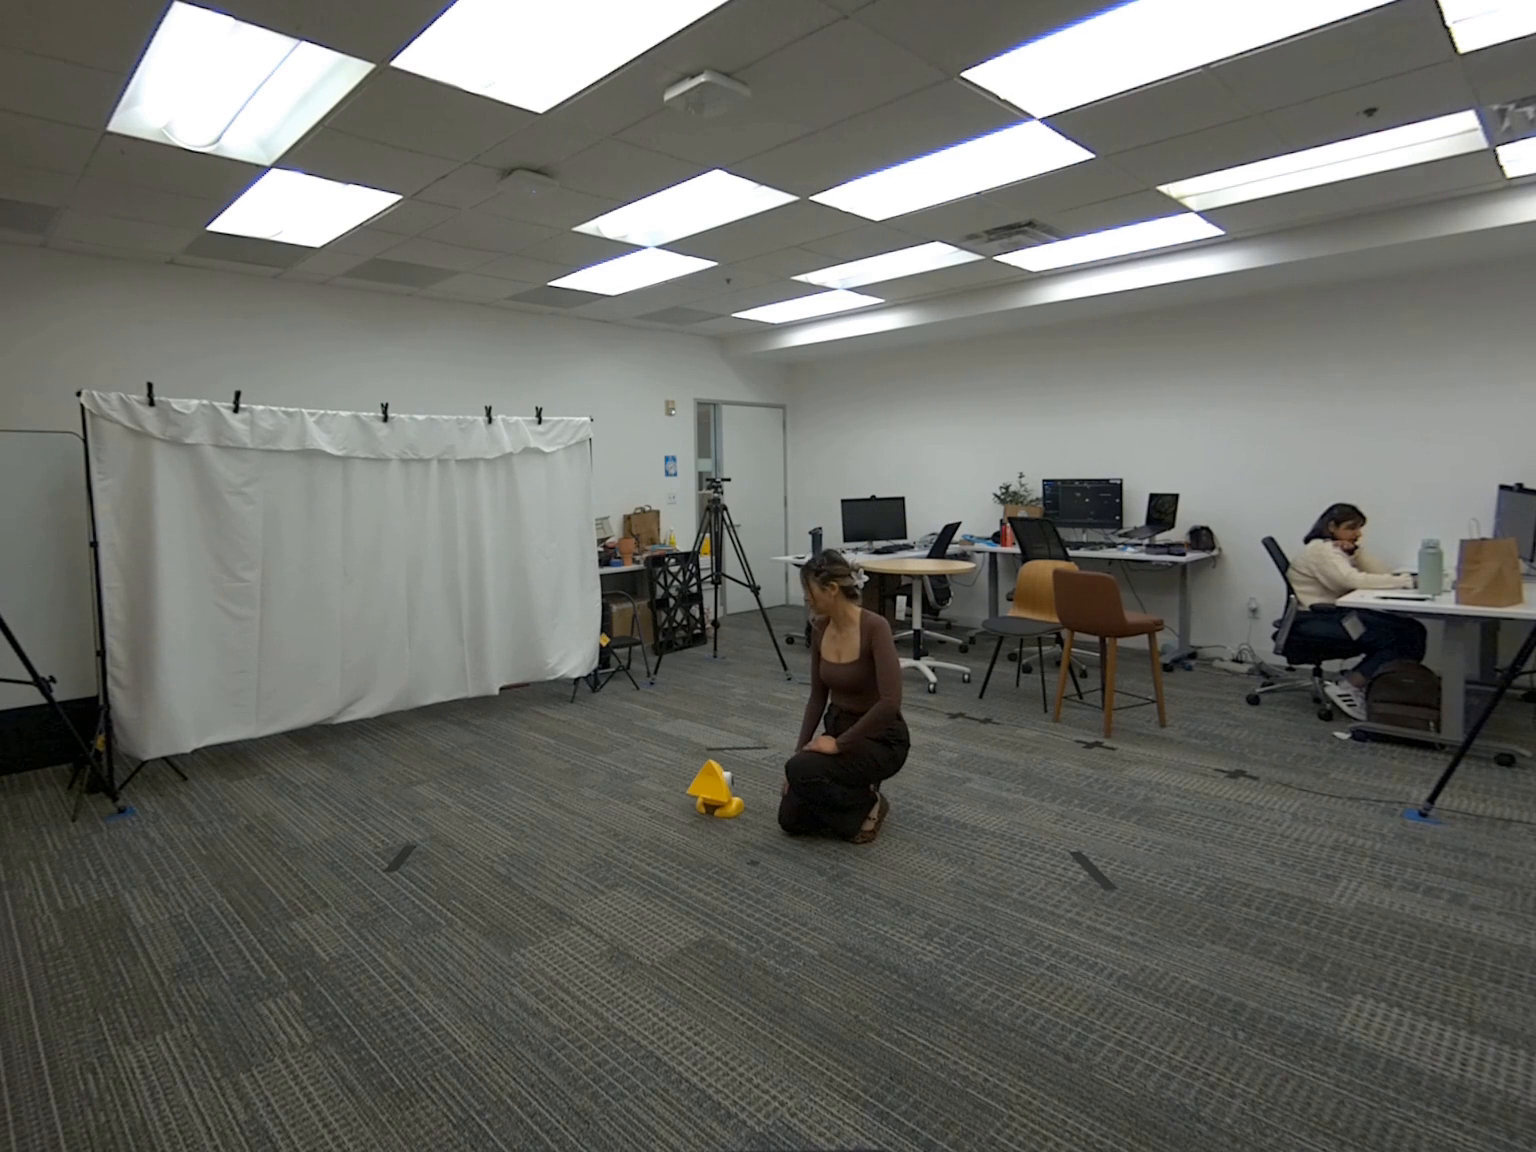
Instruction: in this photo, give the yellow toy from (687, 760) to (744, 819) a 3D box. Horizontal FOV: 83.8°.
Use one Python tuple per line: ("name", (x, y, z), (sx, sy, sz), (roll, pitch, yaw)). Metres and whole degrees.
("yellow toy", (-0.206, 0.875, 3.615), (0.210, 0.230, 0.188), (2, 6, 34))
